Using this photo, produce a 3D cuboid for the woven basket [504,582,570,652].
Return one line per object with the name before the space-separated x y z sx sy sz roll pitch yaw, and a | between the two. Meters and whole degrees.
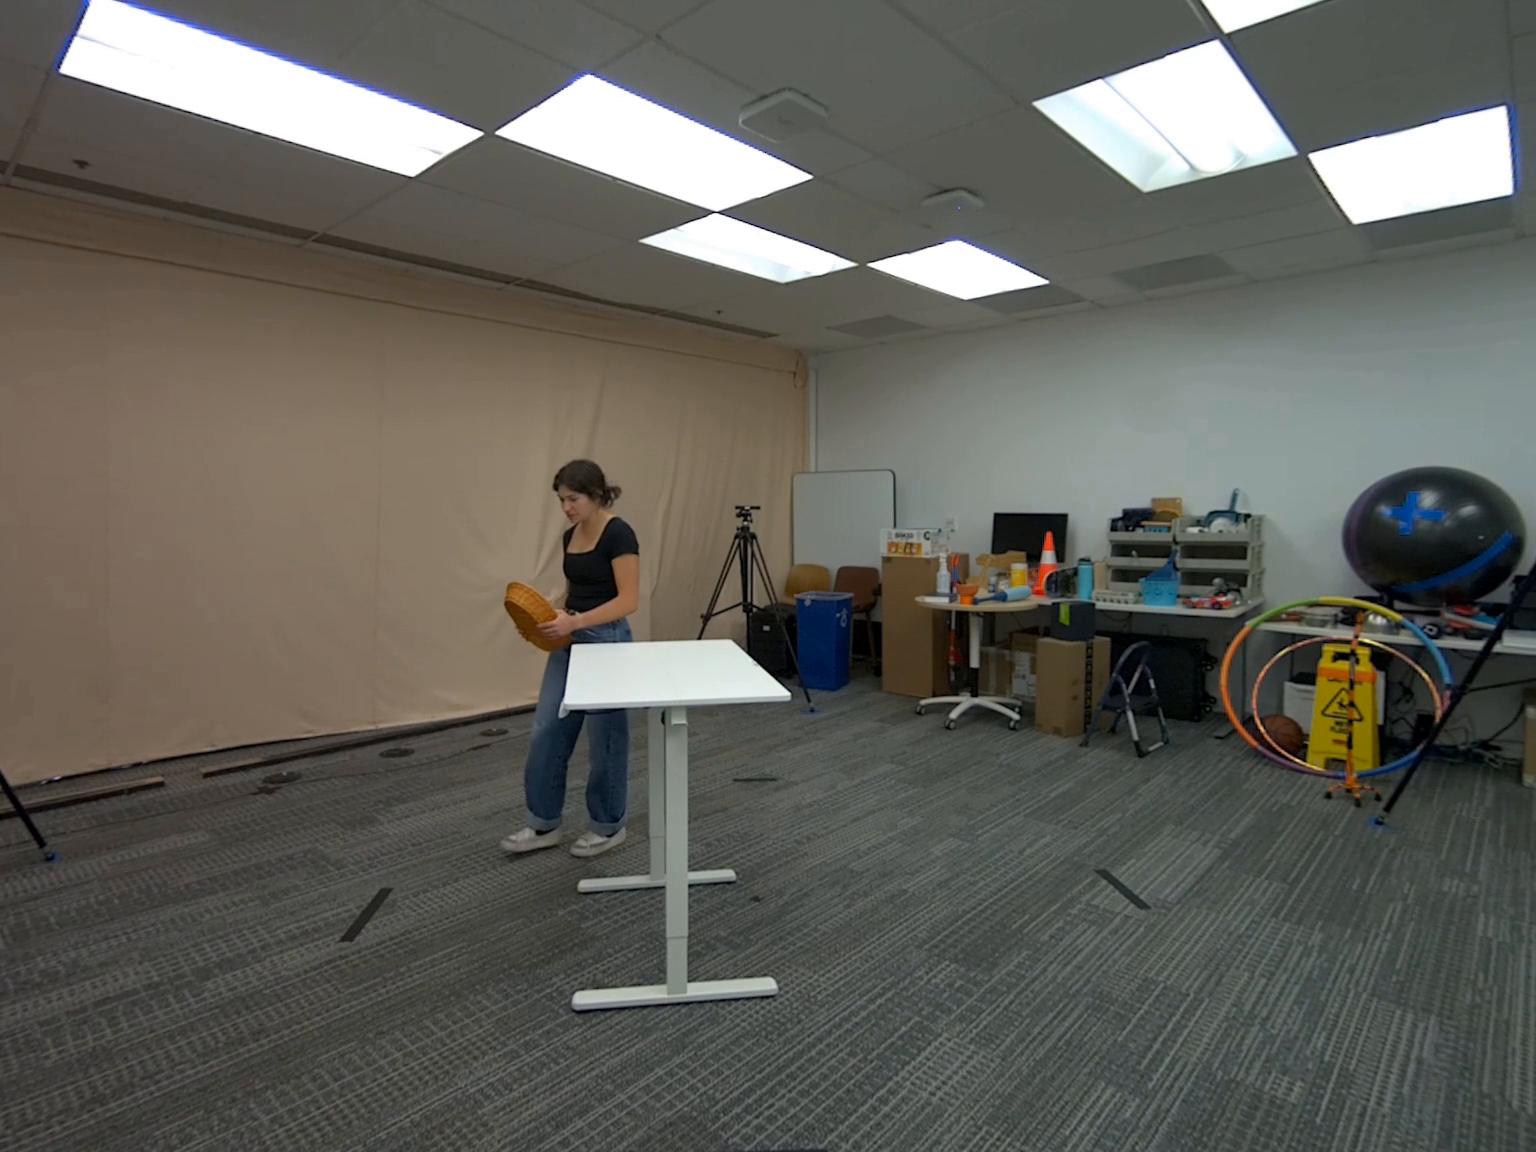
woven basket | -0.906 0.173 3.244 0.260 0.342 0.073 -9 35 44
